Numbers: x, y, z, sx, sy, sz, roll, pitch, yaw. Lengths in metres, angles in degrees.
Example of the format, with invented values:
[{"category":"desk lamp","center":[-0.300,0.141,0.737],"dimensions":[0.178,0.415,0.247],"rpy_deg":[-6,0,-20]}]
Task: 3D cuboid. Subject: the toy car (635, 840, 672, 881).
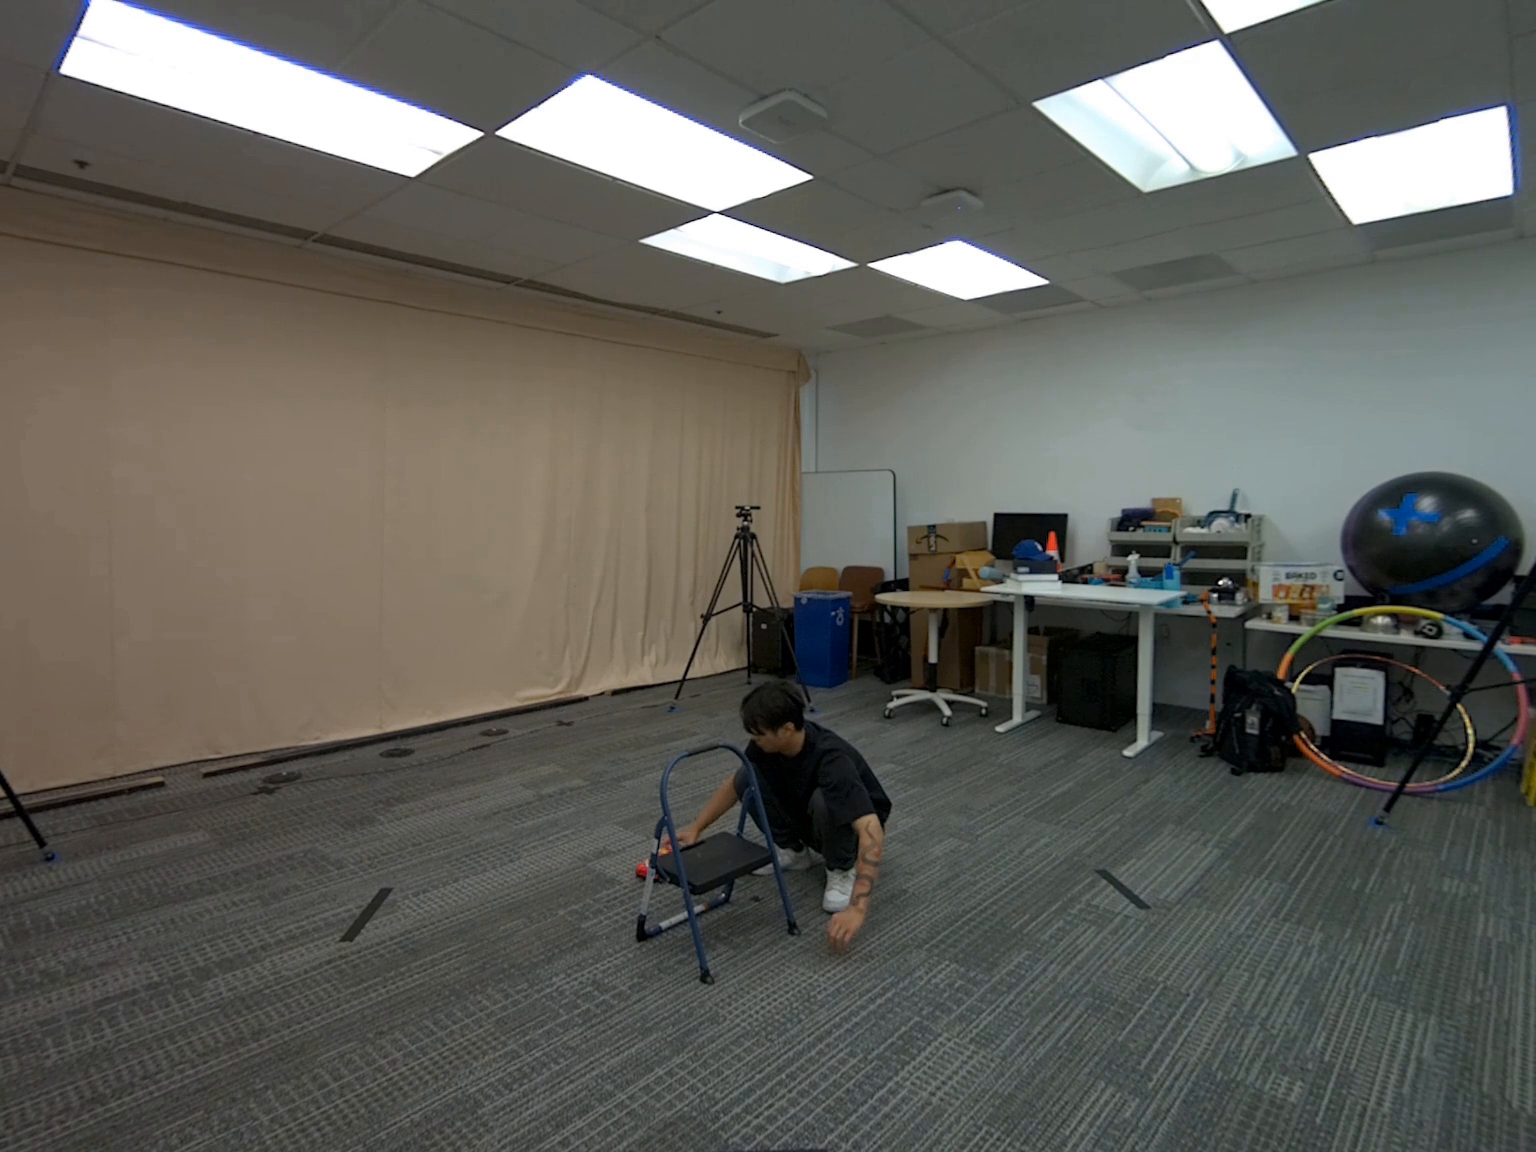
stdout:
[{"category":"toy car","center":[-0.399,1.131,3.150],"dimensions":[0.126,0.083,0.264],"rpy_deg":[8,14,-39]}]
